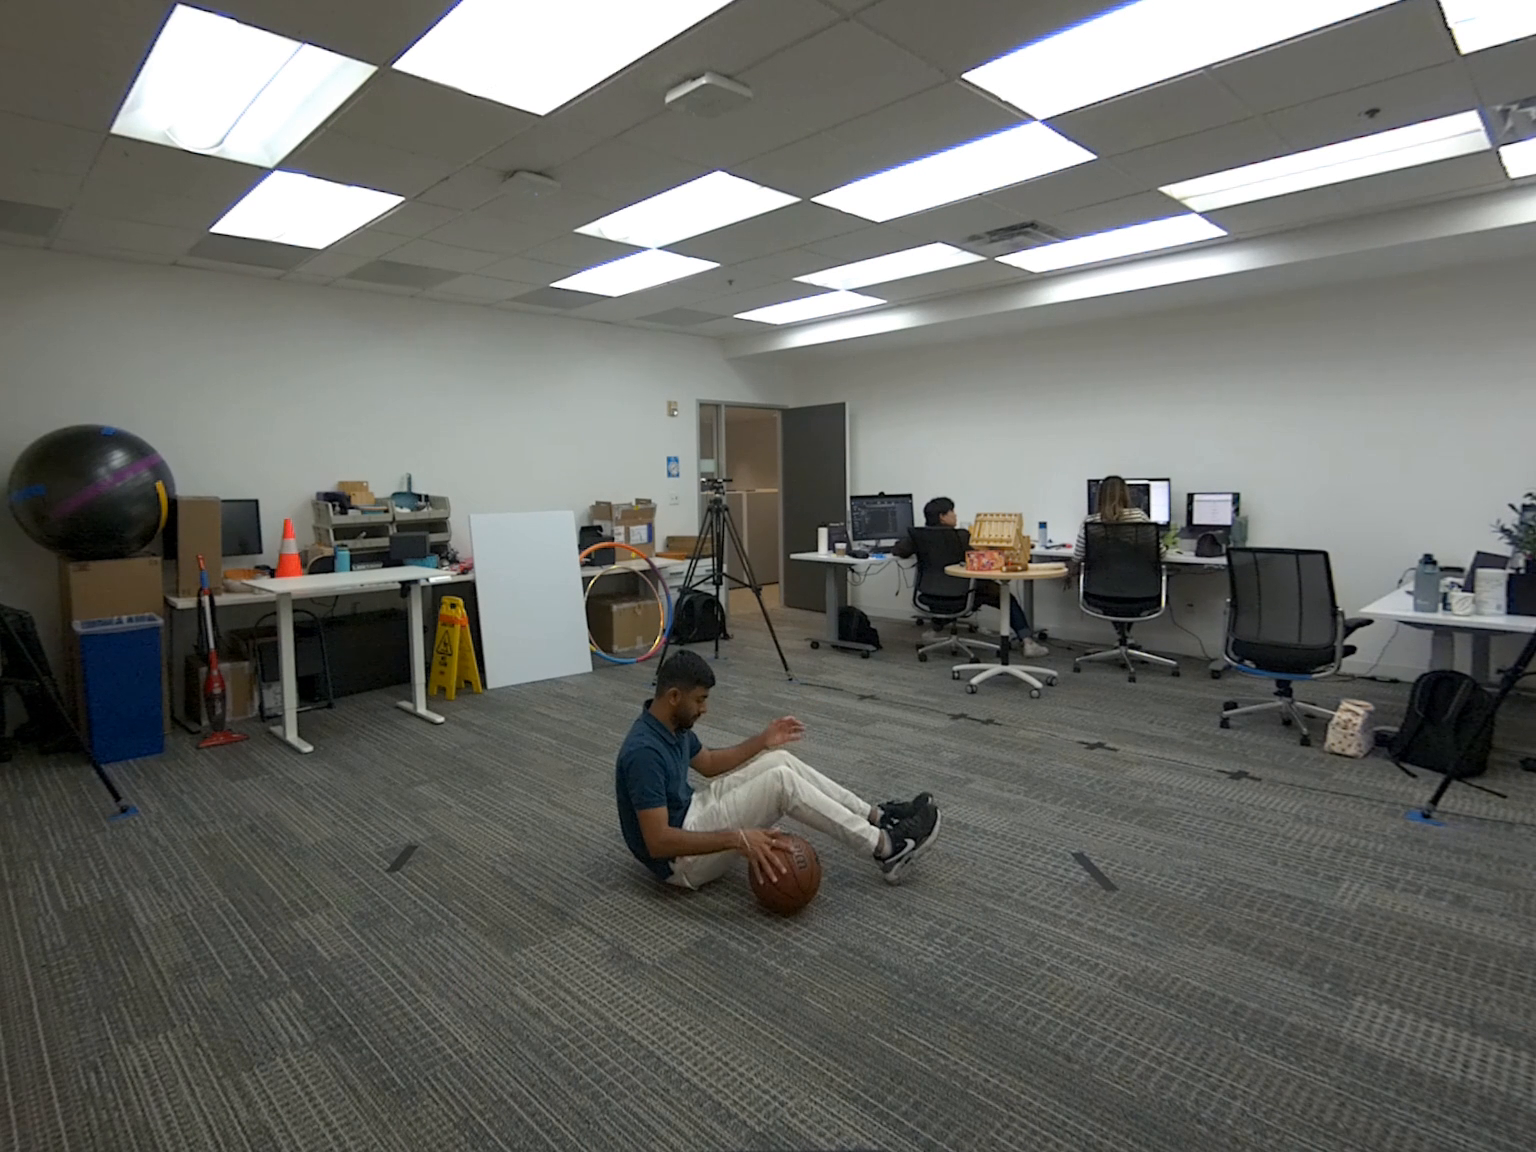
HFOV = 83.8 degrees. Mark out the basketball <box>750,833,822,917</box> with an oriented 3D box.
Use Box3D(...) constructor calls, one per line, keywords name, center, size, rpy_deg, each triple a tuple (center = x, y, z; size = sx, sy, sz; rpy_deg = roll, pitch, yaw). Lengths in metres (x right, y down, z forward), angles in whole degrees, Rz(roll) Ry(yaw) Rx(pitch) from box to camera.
Box3D(name="basketball", center=(0.047, 0.955, 2.784), size=(0.236, 0.235, 0.237), rpy_deg=(-1, 5, -2))
